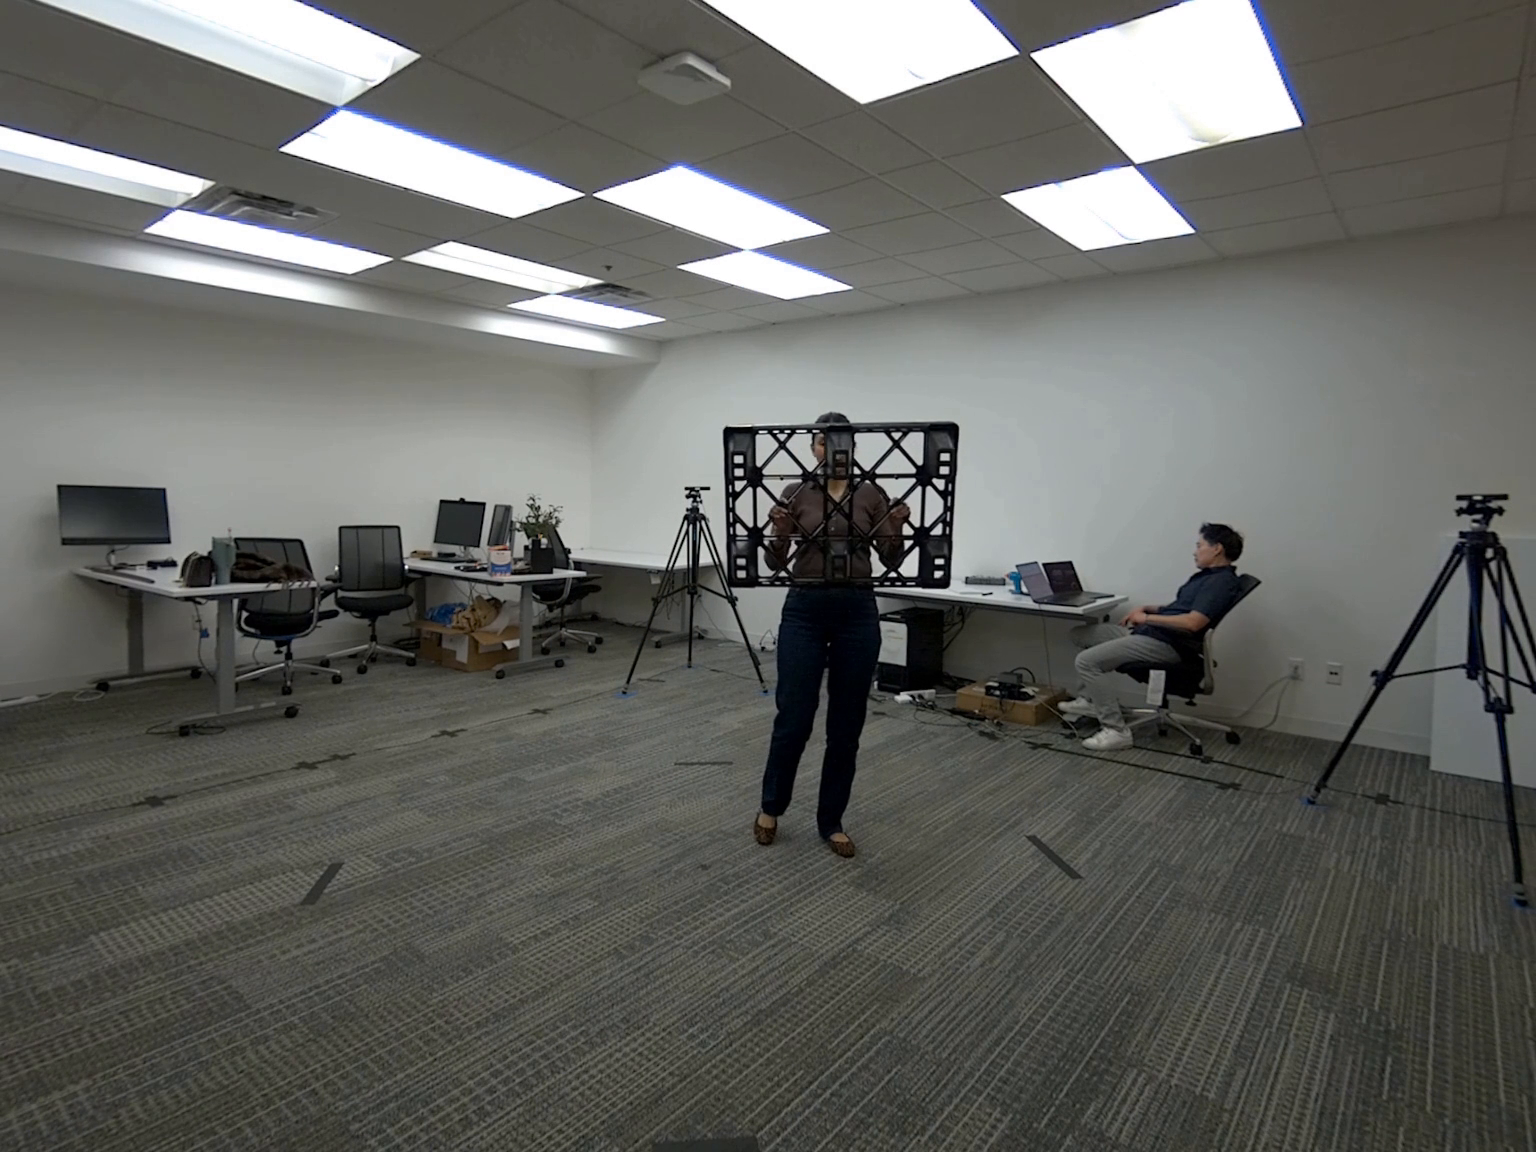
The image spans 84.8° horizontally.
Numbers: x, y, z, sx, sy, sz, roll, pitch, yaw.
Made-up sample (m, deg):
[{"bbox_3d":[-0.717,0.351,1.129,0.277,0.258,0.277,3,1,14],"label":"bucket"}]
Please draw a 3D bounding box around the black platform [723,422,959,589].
[{"bbox_3d":[0.240,-0.230,2.952,0.810,0.594,0.145,0,18,5],"label":"black platform"}]
